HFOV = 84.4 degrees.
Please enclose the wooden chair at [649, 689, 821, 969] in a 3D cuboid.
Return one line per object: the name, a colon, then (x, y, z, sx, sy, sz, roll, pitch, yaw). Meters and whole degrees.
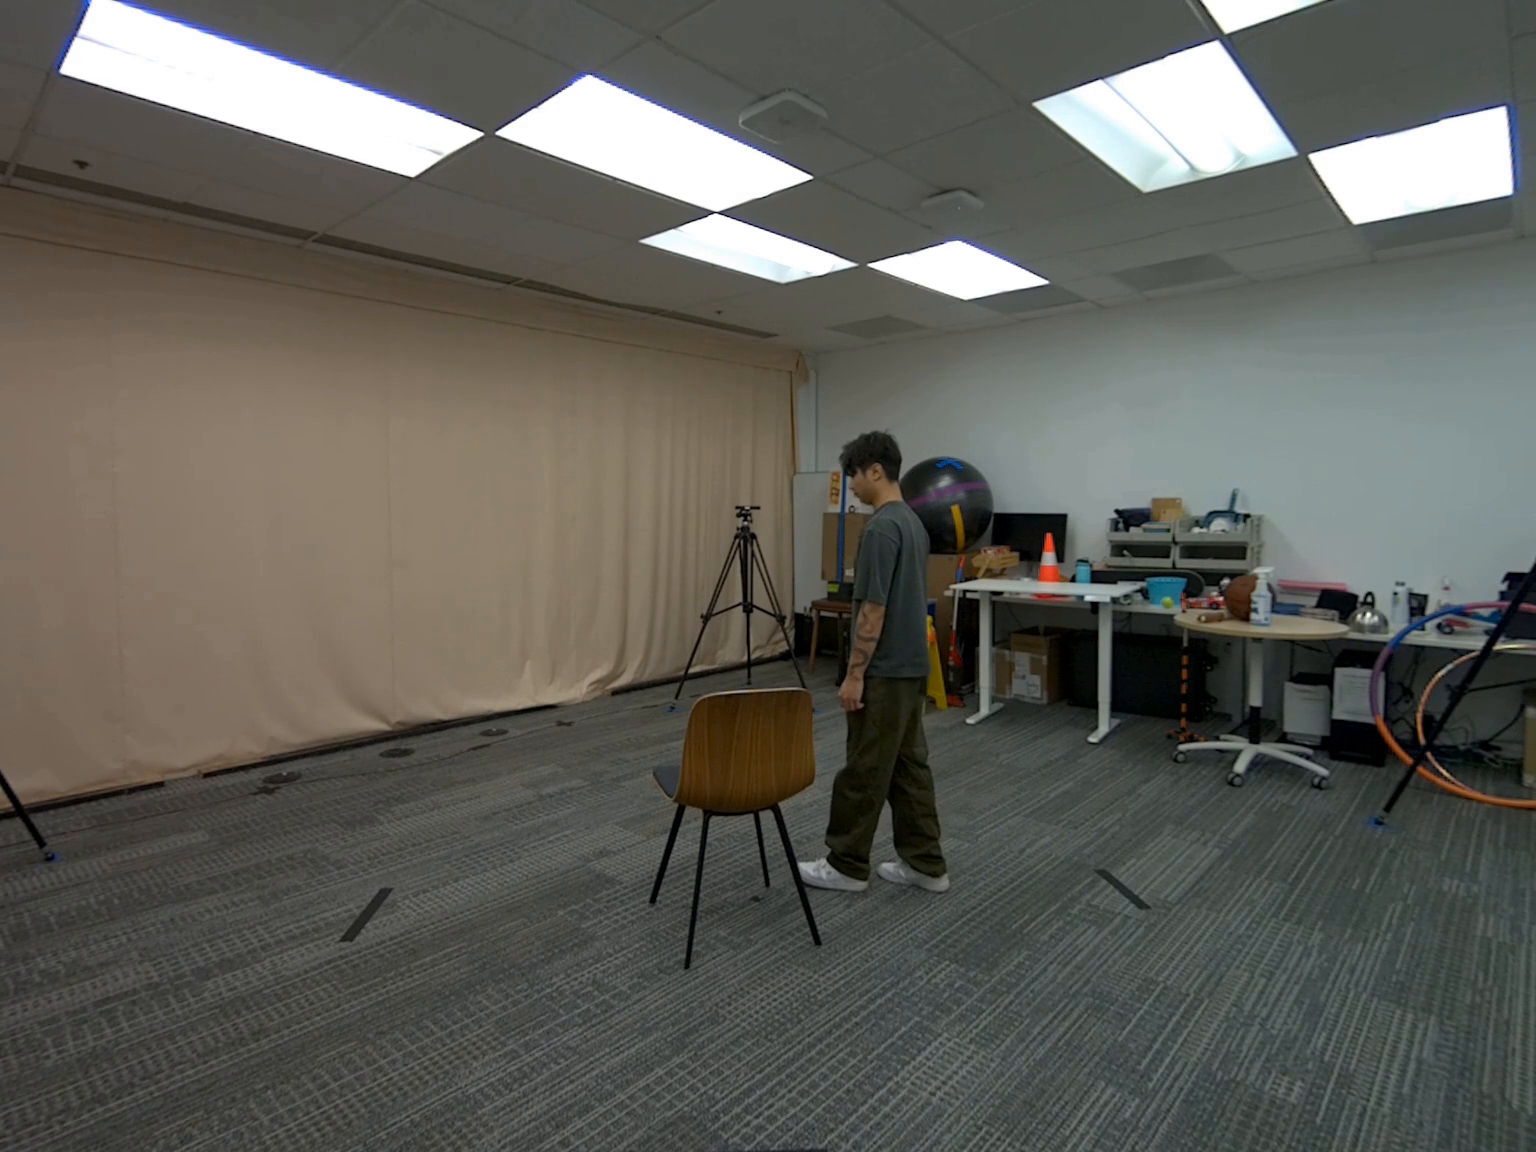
wooden chair: (-0.123, 0.732, 2.787, 0.469, 0.873, 0.536, -1, 8, -20)
